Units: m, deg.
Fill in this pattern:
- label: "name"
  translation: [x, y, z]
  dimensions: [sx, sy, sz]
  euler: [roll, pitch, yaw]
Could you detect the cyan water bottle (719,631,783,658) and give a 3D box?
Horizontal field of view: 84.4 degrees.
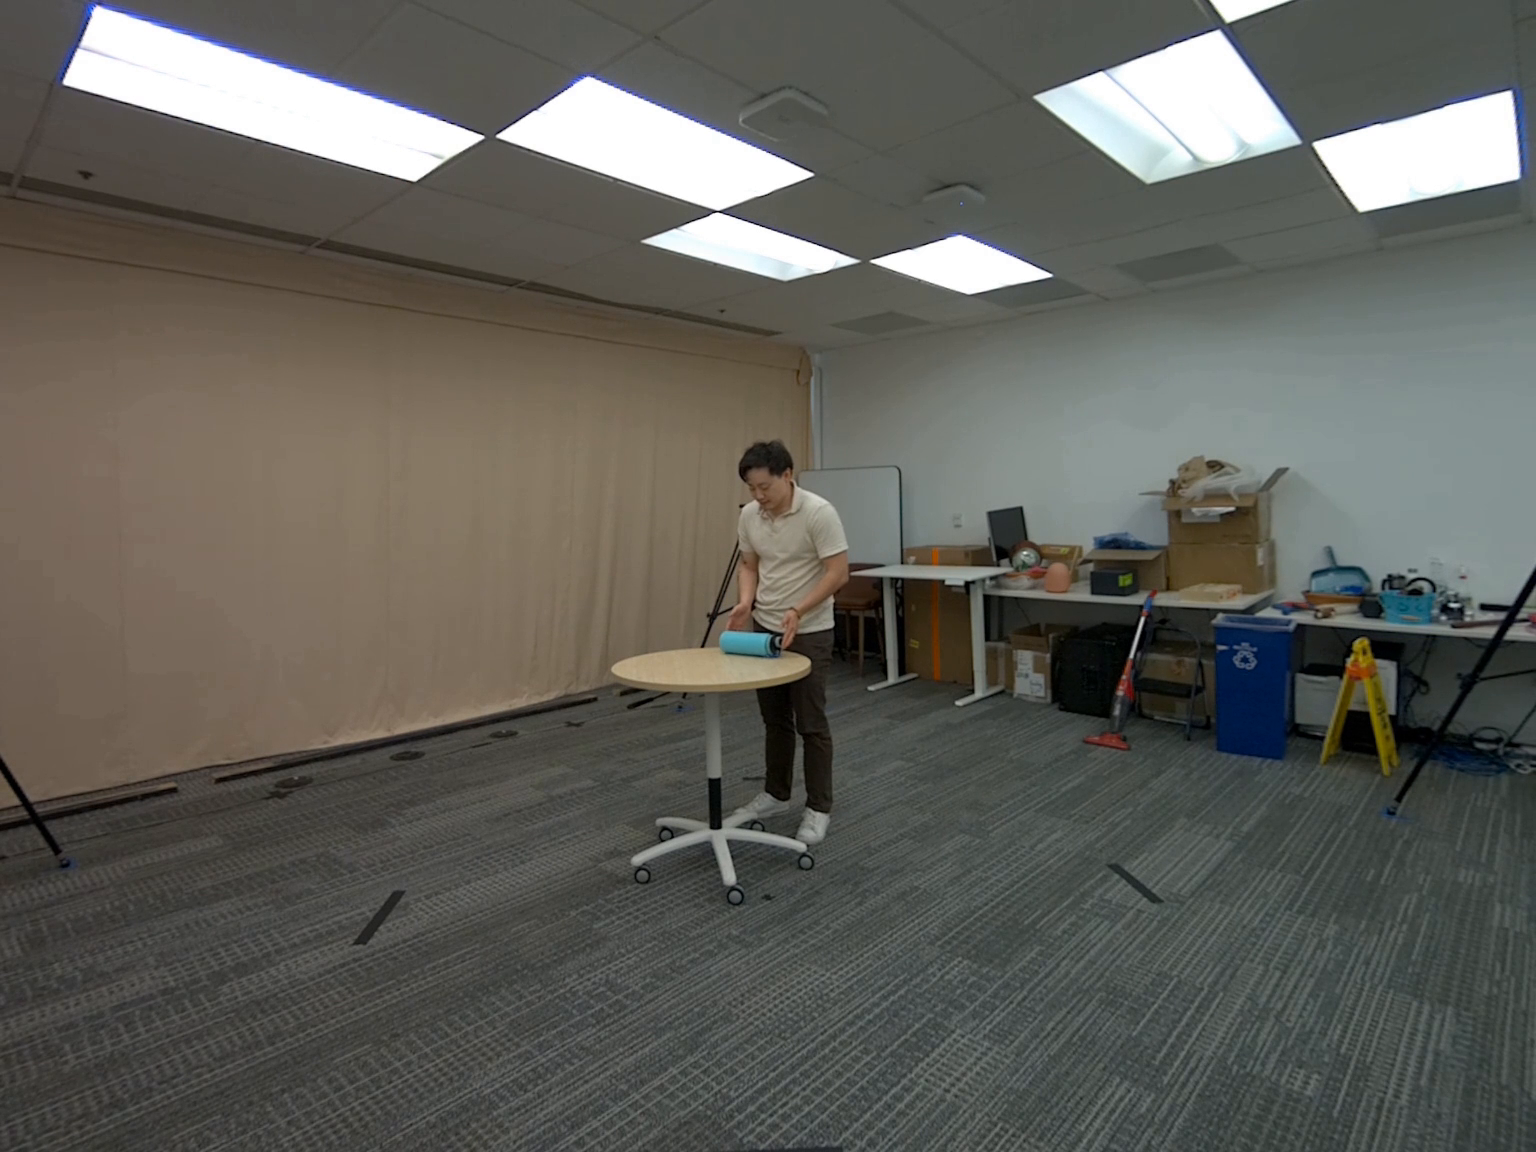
- label: "cyan water bottle"
  translation: [-0.063, 0.273, 3.399]
  dimensions: [0.292, 0.092, 0.089]
  euler: [2, 4, 38]
